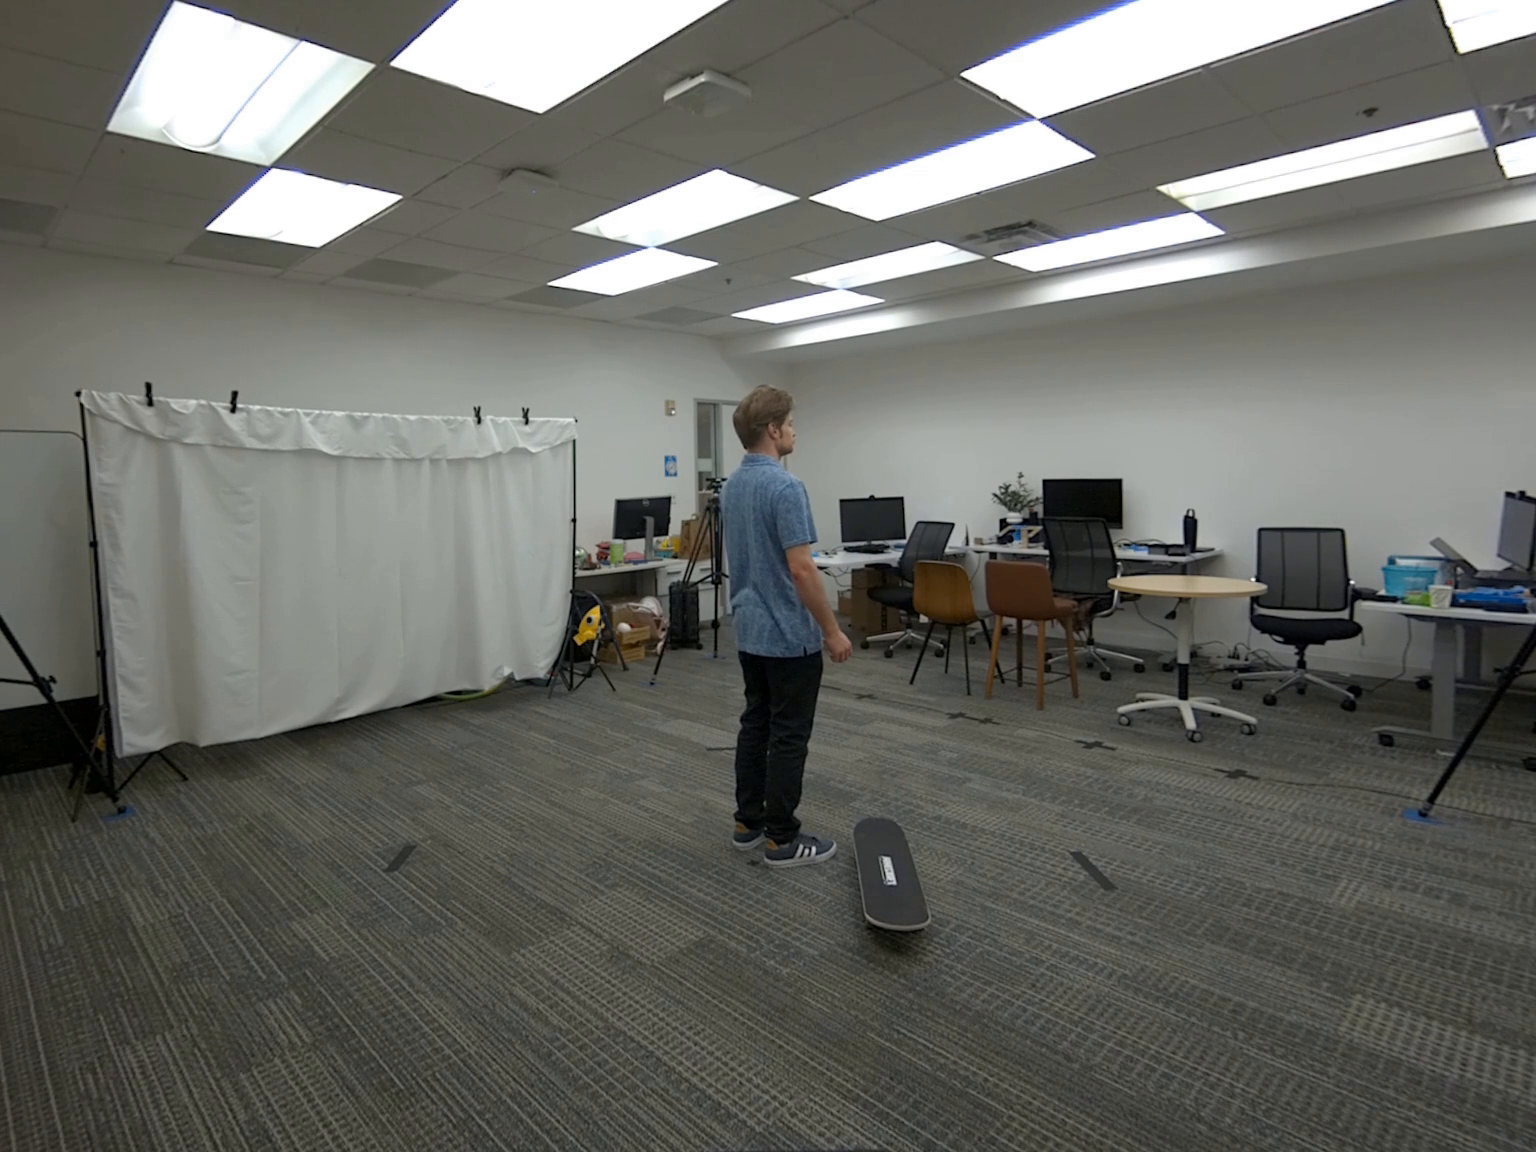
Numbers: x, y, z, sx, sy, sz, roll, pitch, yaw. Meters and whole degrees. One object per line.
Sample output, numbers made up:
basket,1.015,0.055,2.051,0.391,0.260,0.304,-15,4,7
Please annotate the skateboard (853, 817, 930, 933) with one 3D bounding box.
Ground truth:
skateboard,0.403,1.006,2.839,0.194,0.110,0.785,-1,7,3
